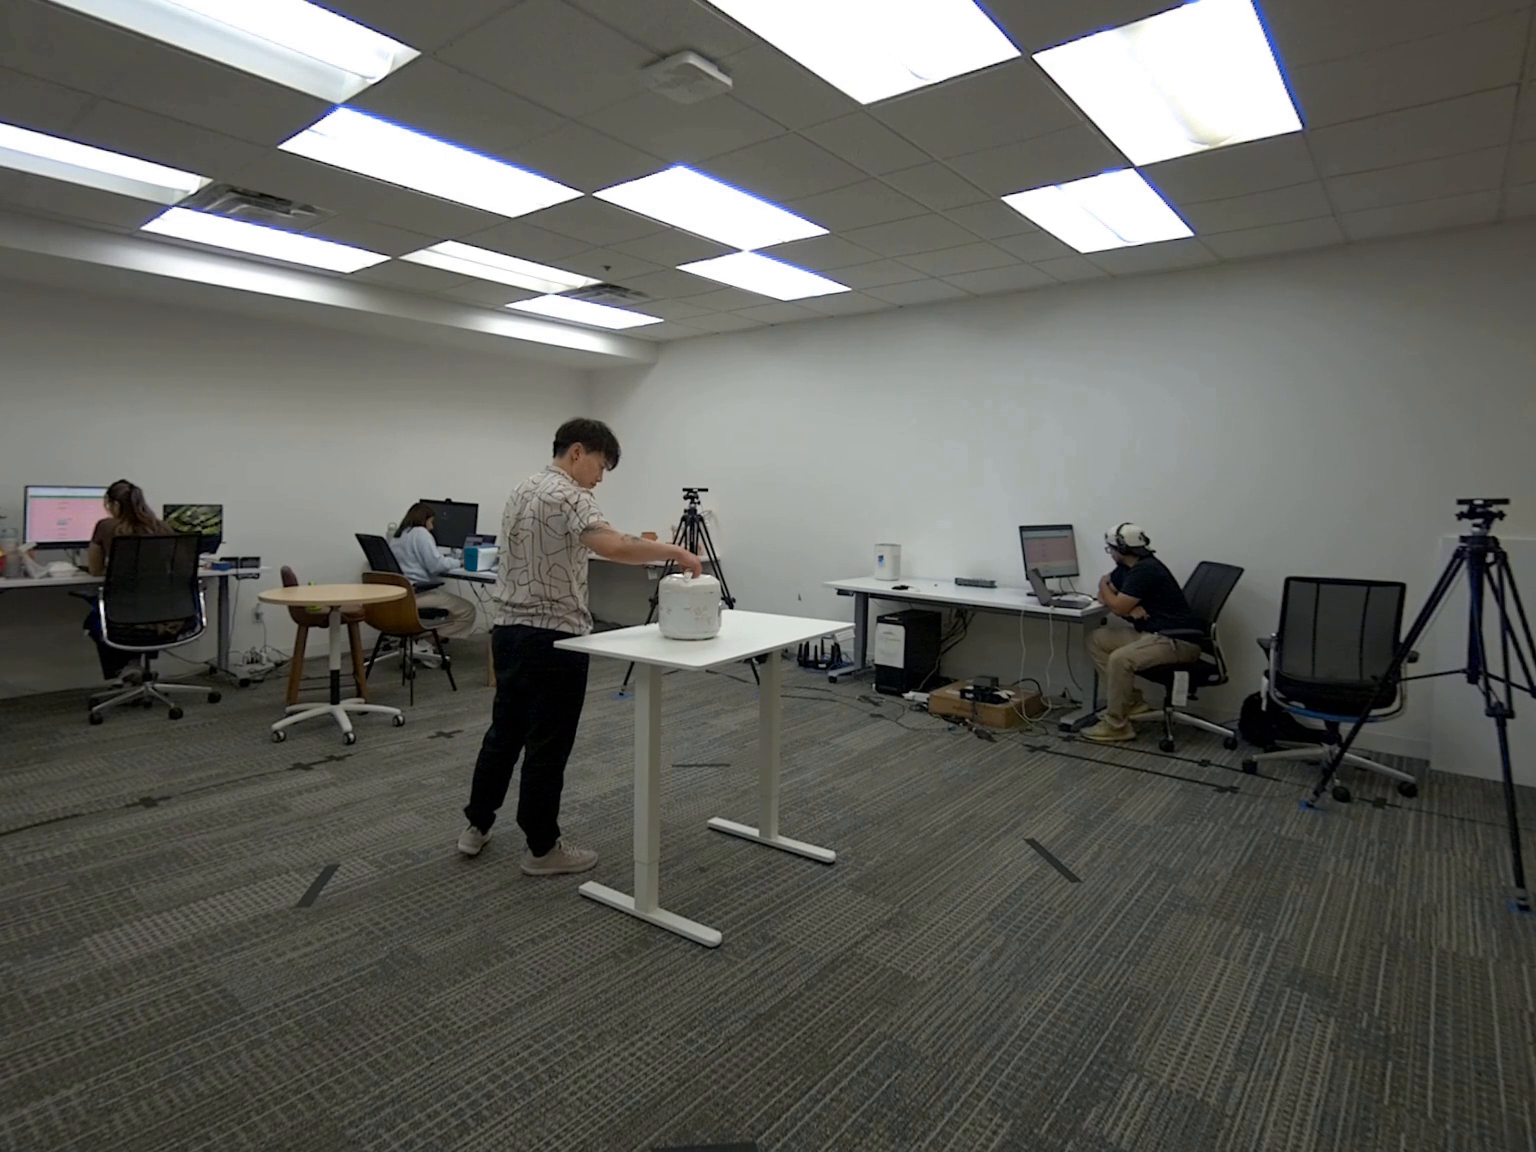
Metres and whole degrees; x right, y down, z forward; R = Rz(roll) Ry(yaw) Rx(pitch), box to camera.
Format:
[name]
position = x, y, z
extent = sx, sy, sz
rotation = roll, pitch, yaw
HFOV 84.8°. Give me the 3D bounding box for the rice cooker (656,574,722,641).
[rice cooker]
position = -0.275, 0.090, 2.915
extent = 0.219, 0.232, 0.220
rotation = 1, 4, 5
